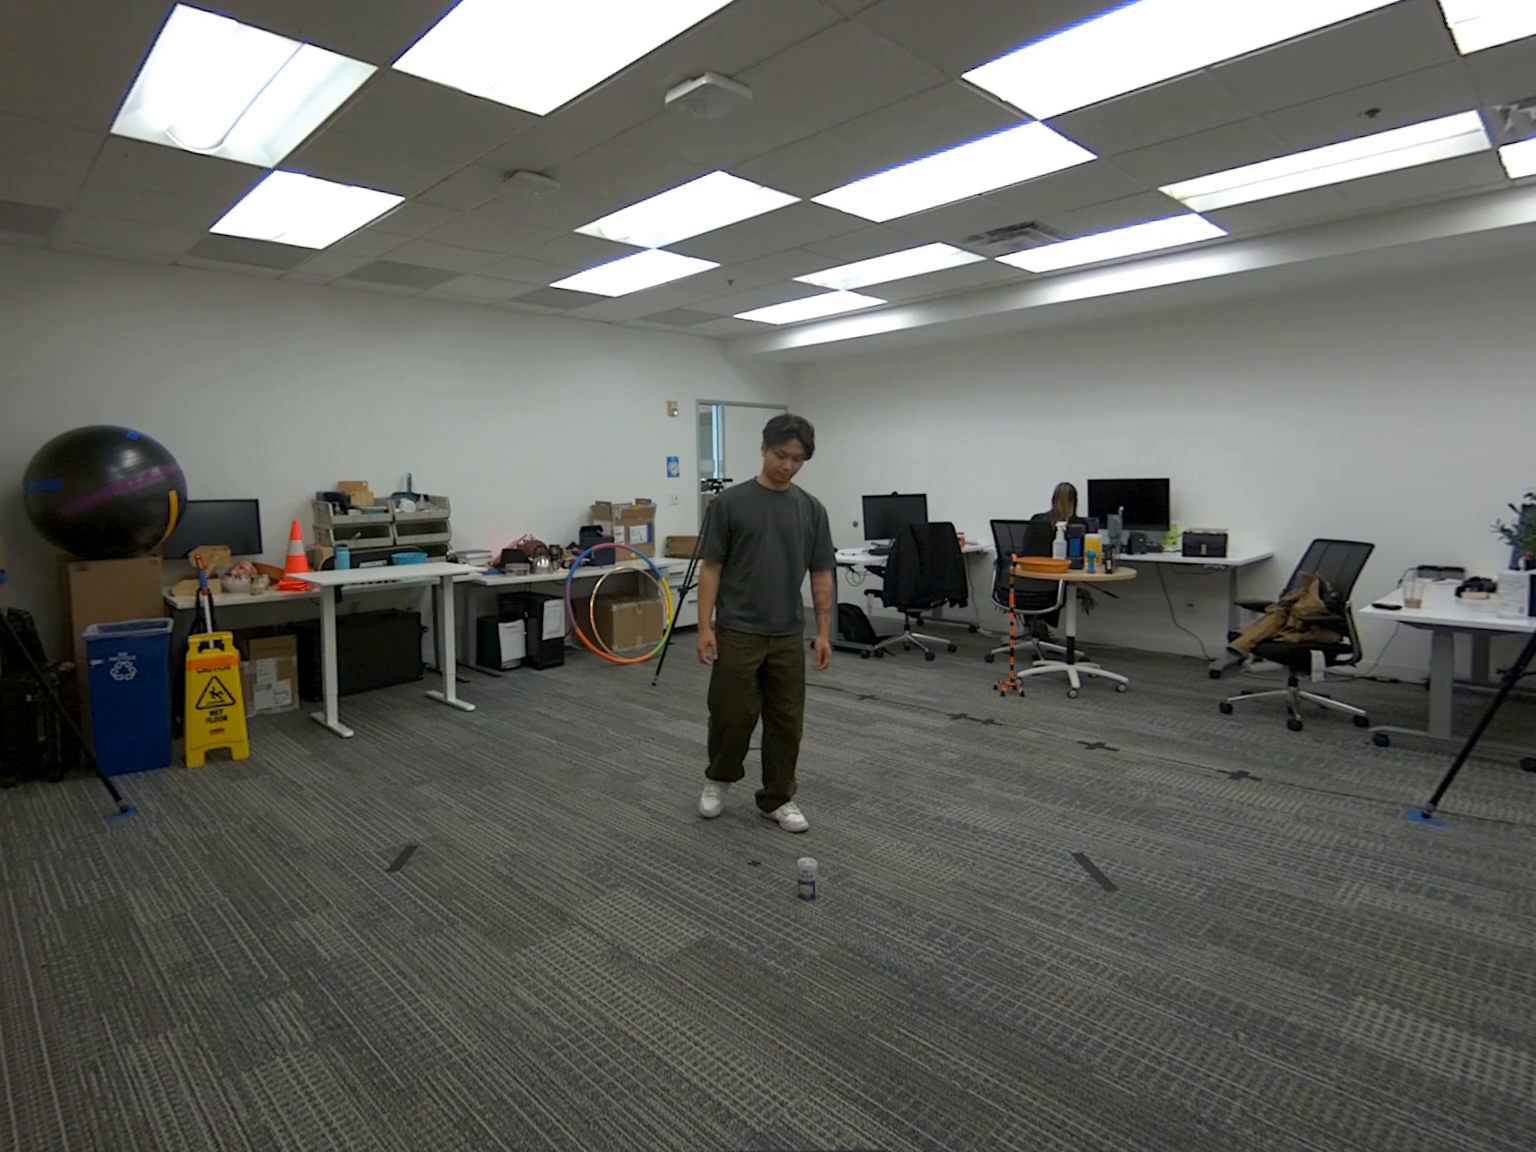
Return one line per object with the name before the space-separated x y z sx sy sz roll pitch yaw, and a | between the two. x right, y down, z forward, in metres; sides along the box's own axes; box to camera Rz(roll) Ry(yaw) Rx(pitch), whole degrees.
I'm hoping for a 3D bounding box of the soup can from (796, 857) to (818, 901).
soup can | 0.137 1.017 2.851 0.067 0.121 0.067 -2 6 -1
